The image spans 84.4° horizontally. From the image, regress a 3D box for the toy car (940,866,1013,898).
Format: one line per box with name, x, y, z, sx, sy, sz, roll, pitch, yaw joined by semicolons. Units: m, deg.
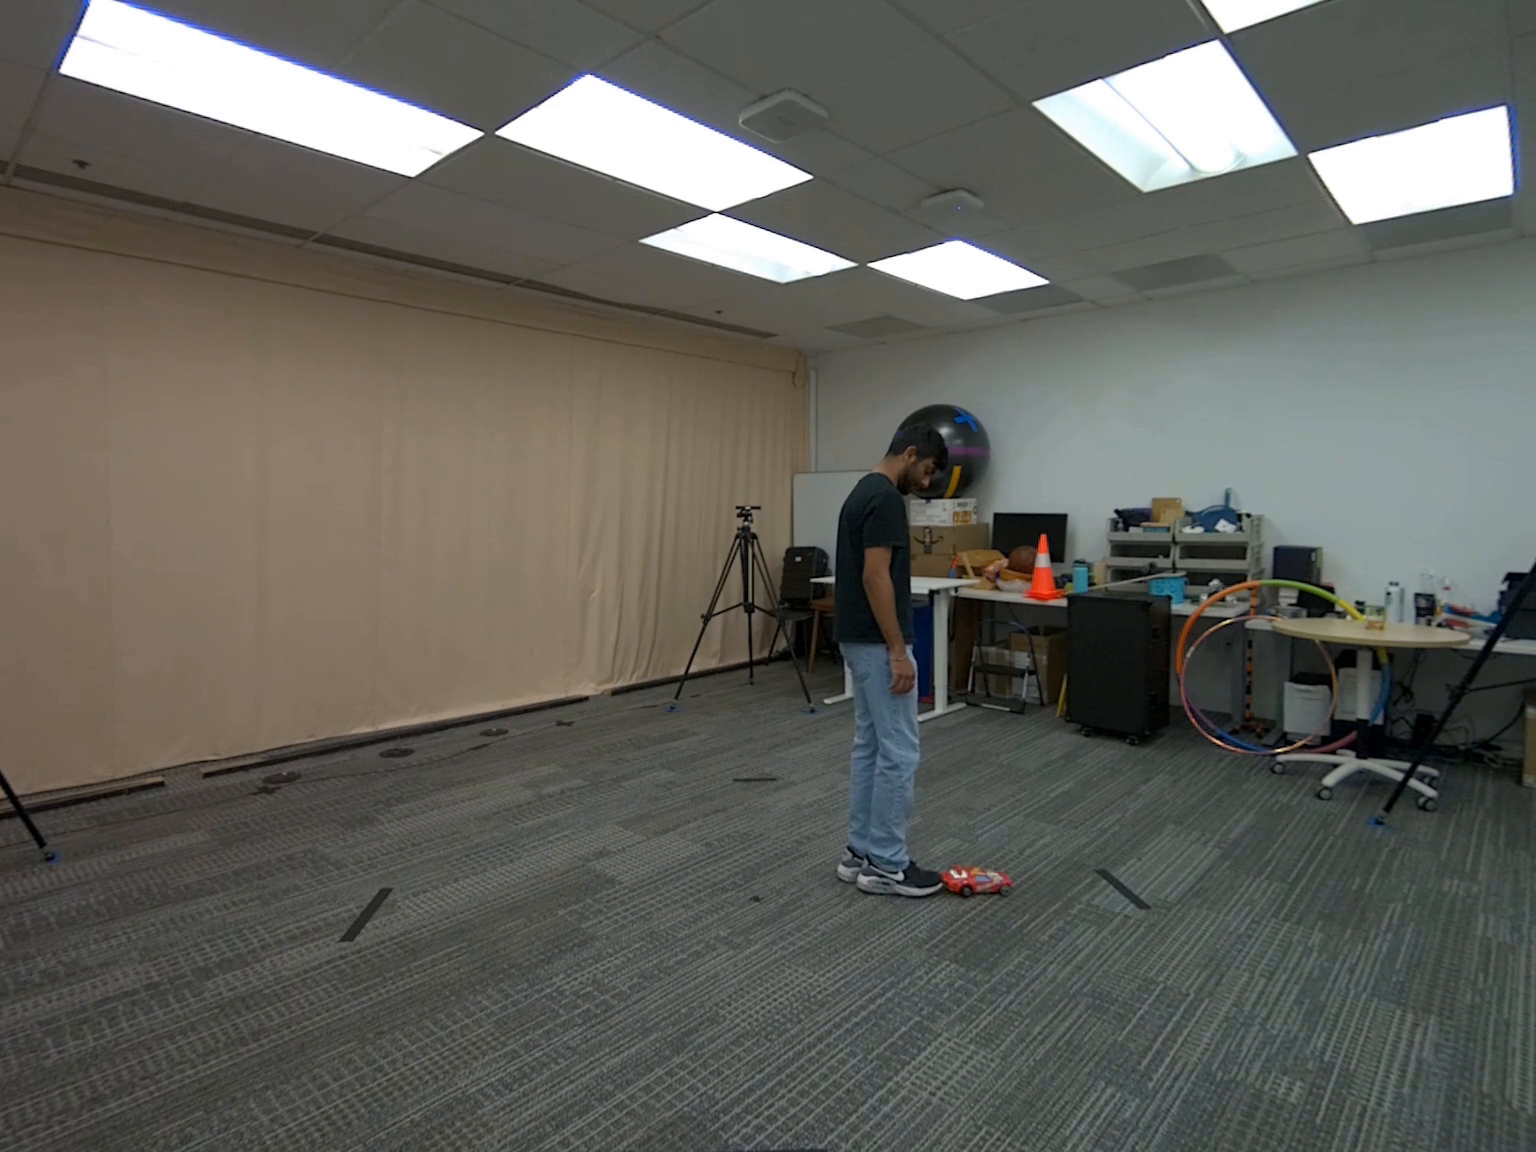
toy car;0.747;1.106;3.029;0.253;0.083;0.131;11;3;-6
